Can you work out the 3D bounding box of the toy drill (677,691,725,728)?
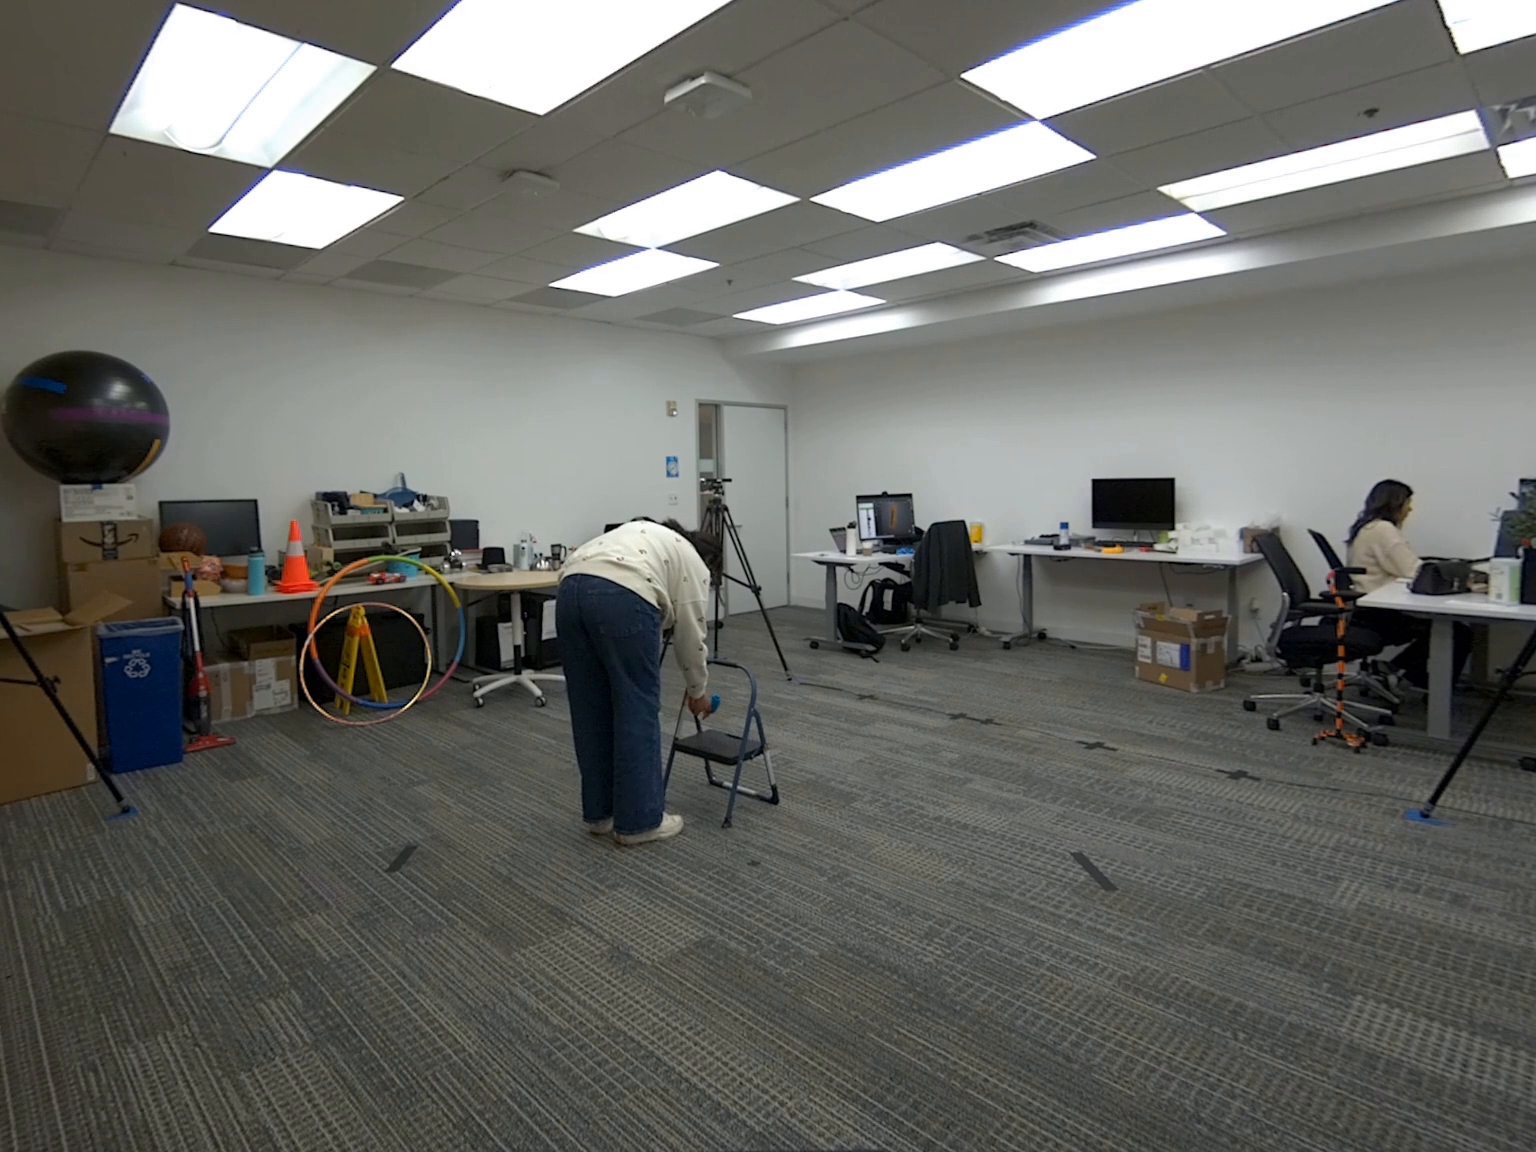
[{"bbox_3d":[-0.297,0.586,3.776,0.142,0.168,0.063,4,44,-30],"label":"toy drill"}]
